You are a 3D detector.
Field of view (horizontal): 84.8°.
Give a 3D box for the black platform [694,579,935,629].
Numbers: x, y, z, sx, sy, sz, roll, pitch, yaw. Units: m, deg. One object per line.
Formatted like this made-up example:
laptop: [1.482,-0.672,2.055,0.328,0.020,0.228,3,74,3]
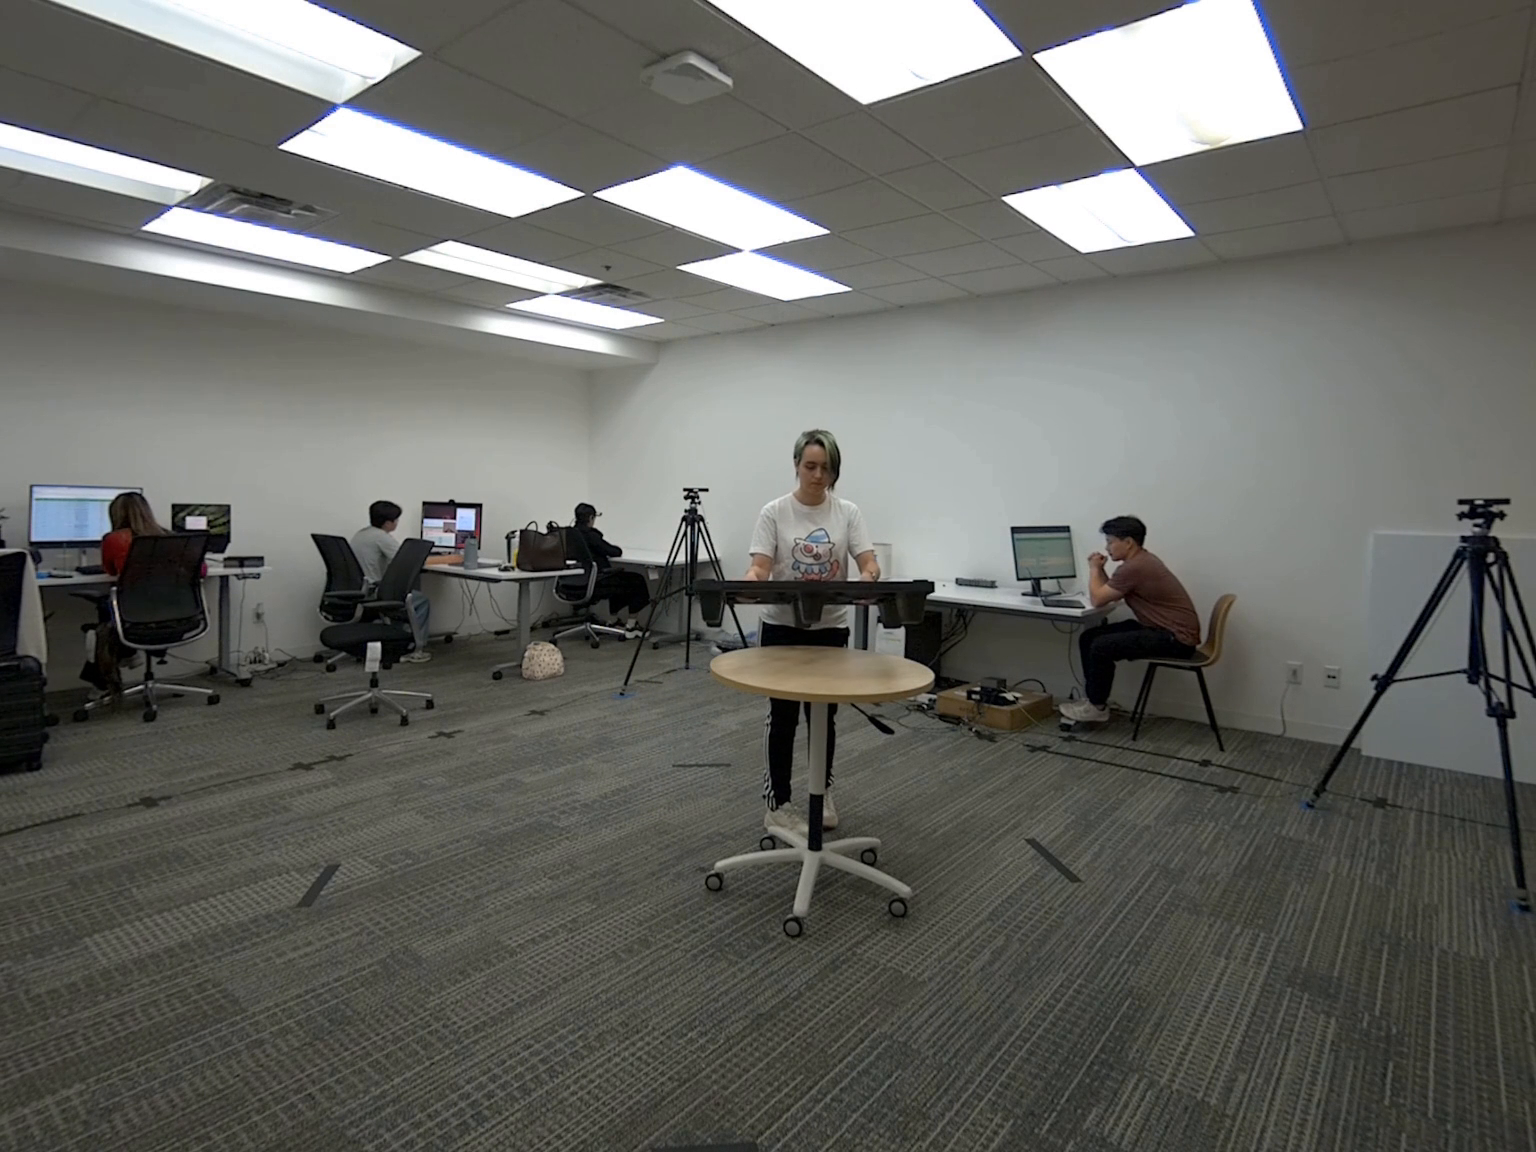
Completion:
black platform: [0.132,0.115,3.084,0.808,0.144,0.599,0,-6,2]
